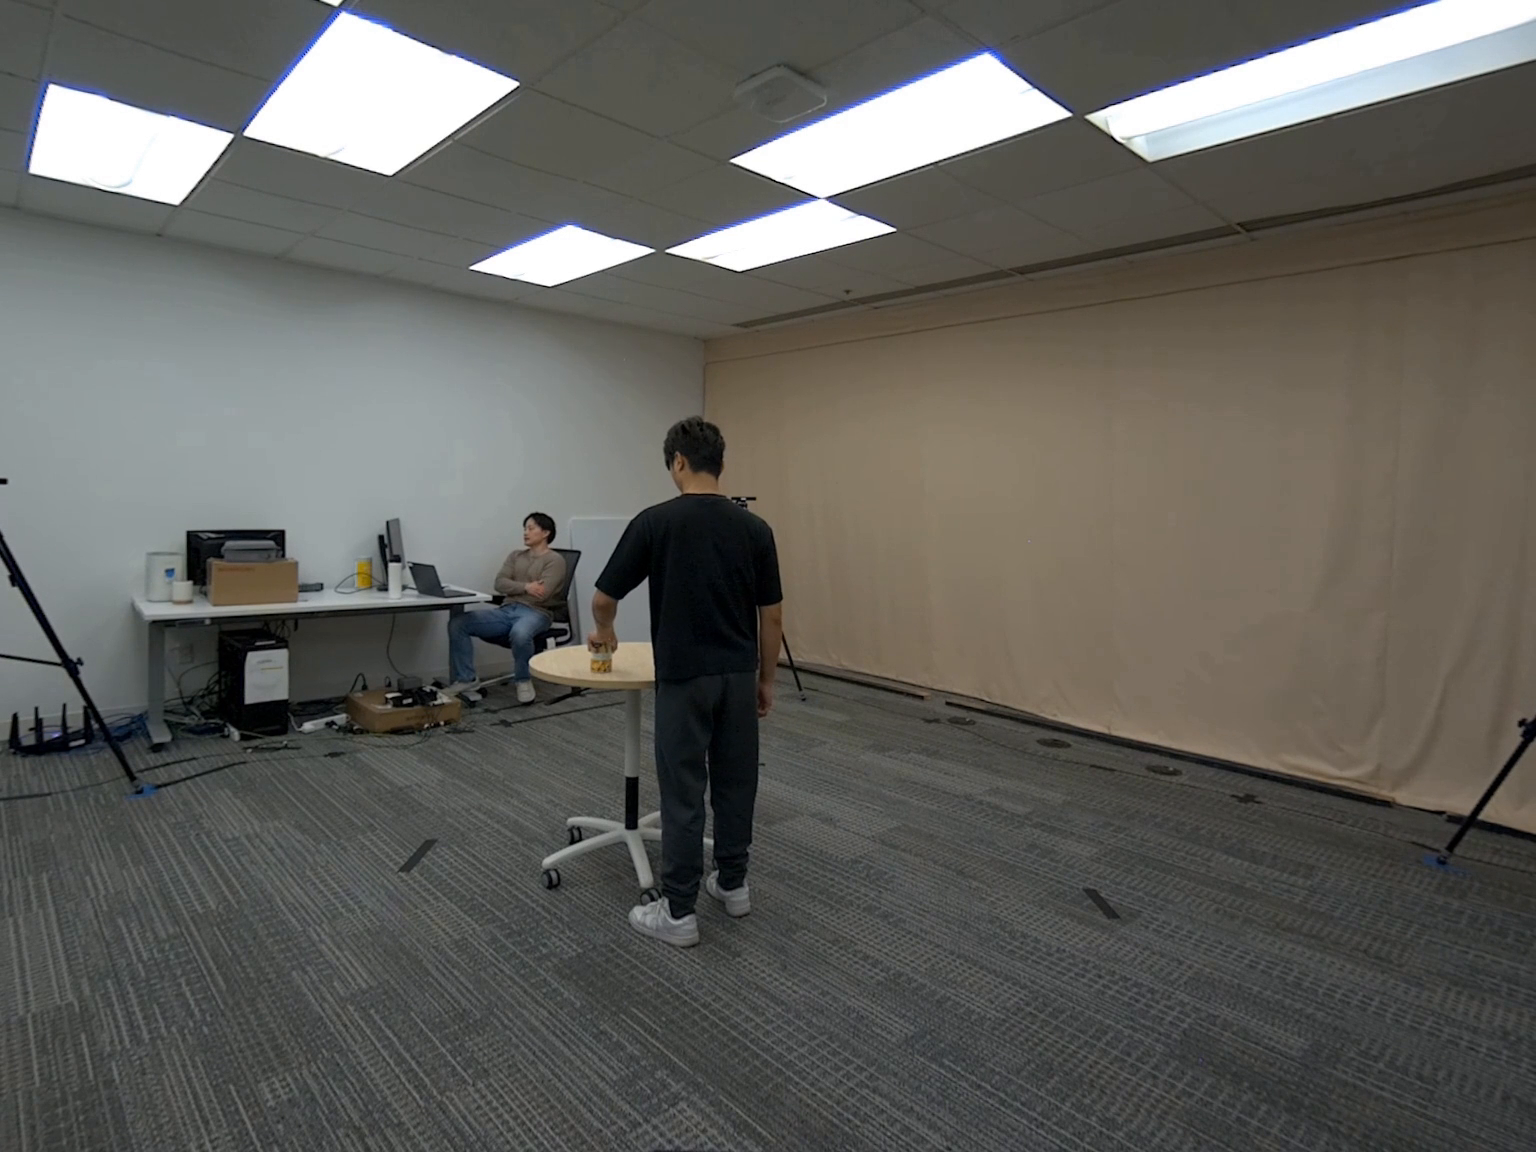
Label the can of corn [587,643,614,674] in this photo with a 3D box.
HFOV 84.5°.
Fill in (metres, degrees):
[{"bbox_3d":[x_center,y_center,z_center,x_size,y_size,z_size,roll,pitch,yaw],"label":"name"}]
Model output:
[{"bbox_3d":[-0.587,0.275,2.912,0.074,0.110,0.074,1,6,-1],"label":"can of corn"}]
